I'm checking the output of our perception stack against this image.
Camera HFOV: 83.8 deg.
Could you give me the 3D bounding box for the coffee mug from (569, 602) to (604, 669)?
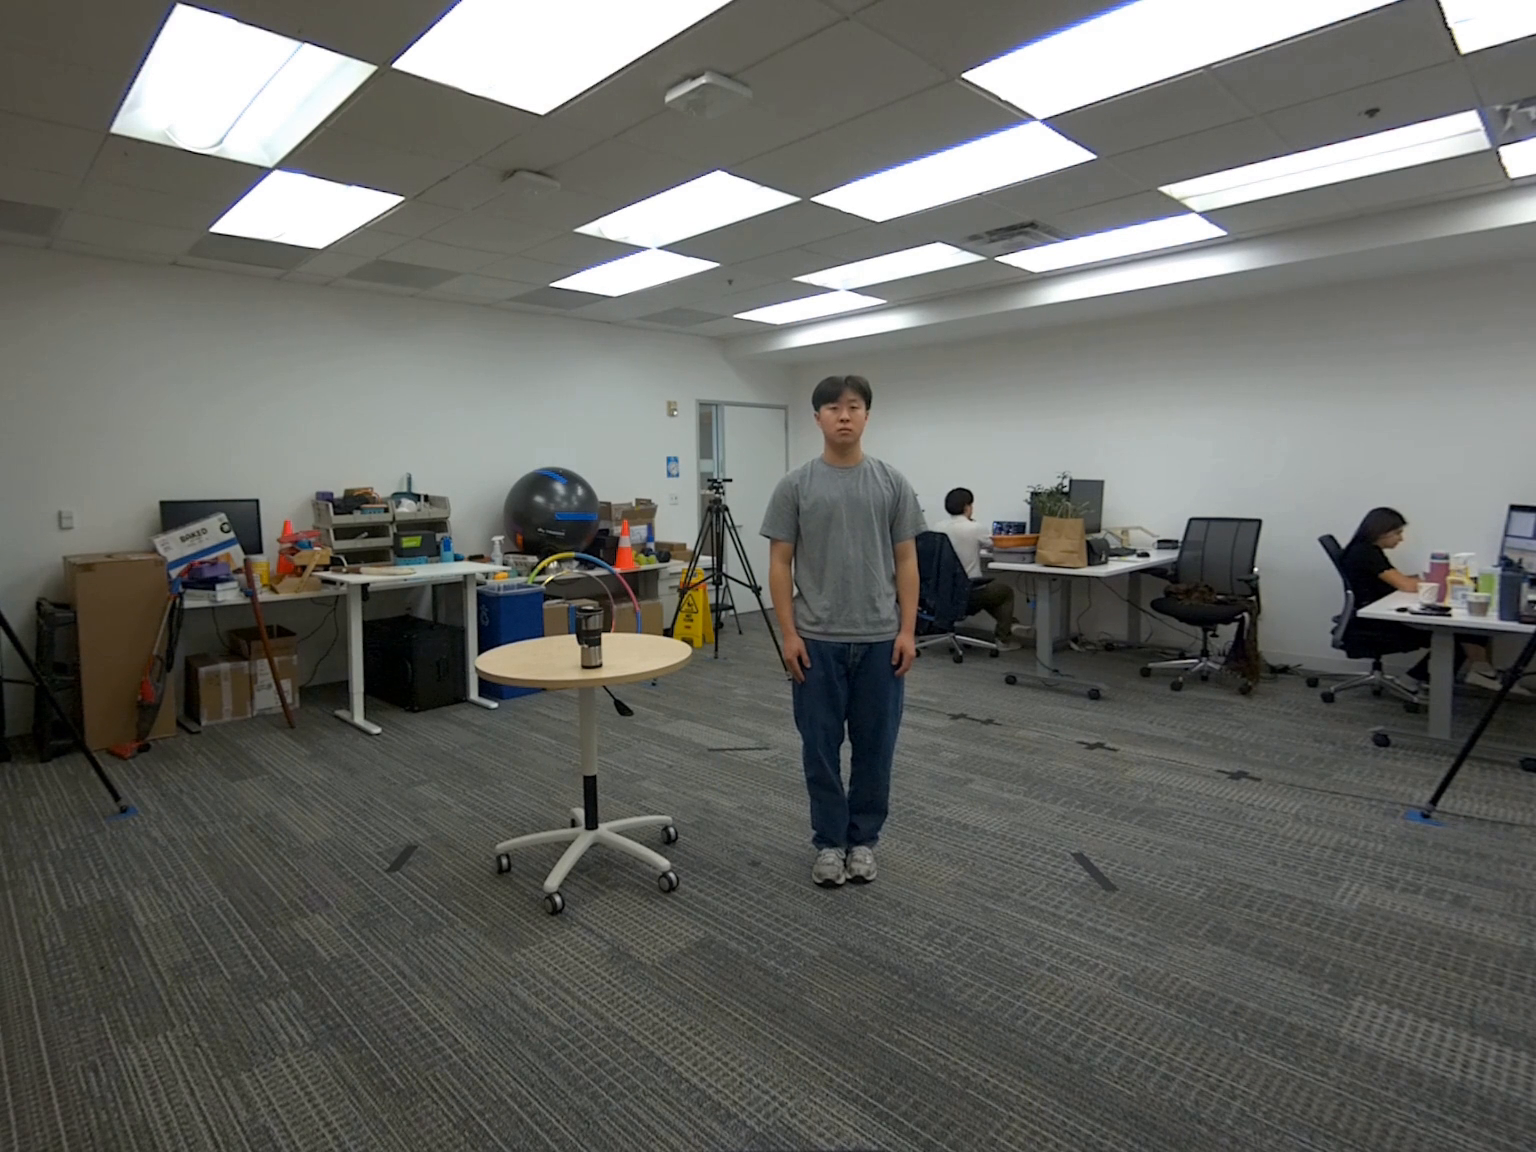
[{"bbox_3d":[-0.609,0.206,2.827,0.090,0.202,0.118,5,6,44],"label":"coffee mug"}]
